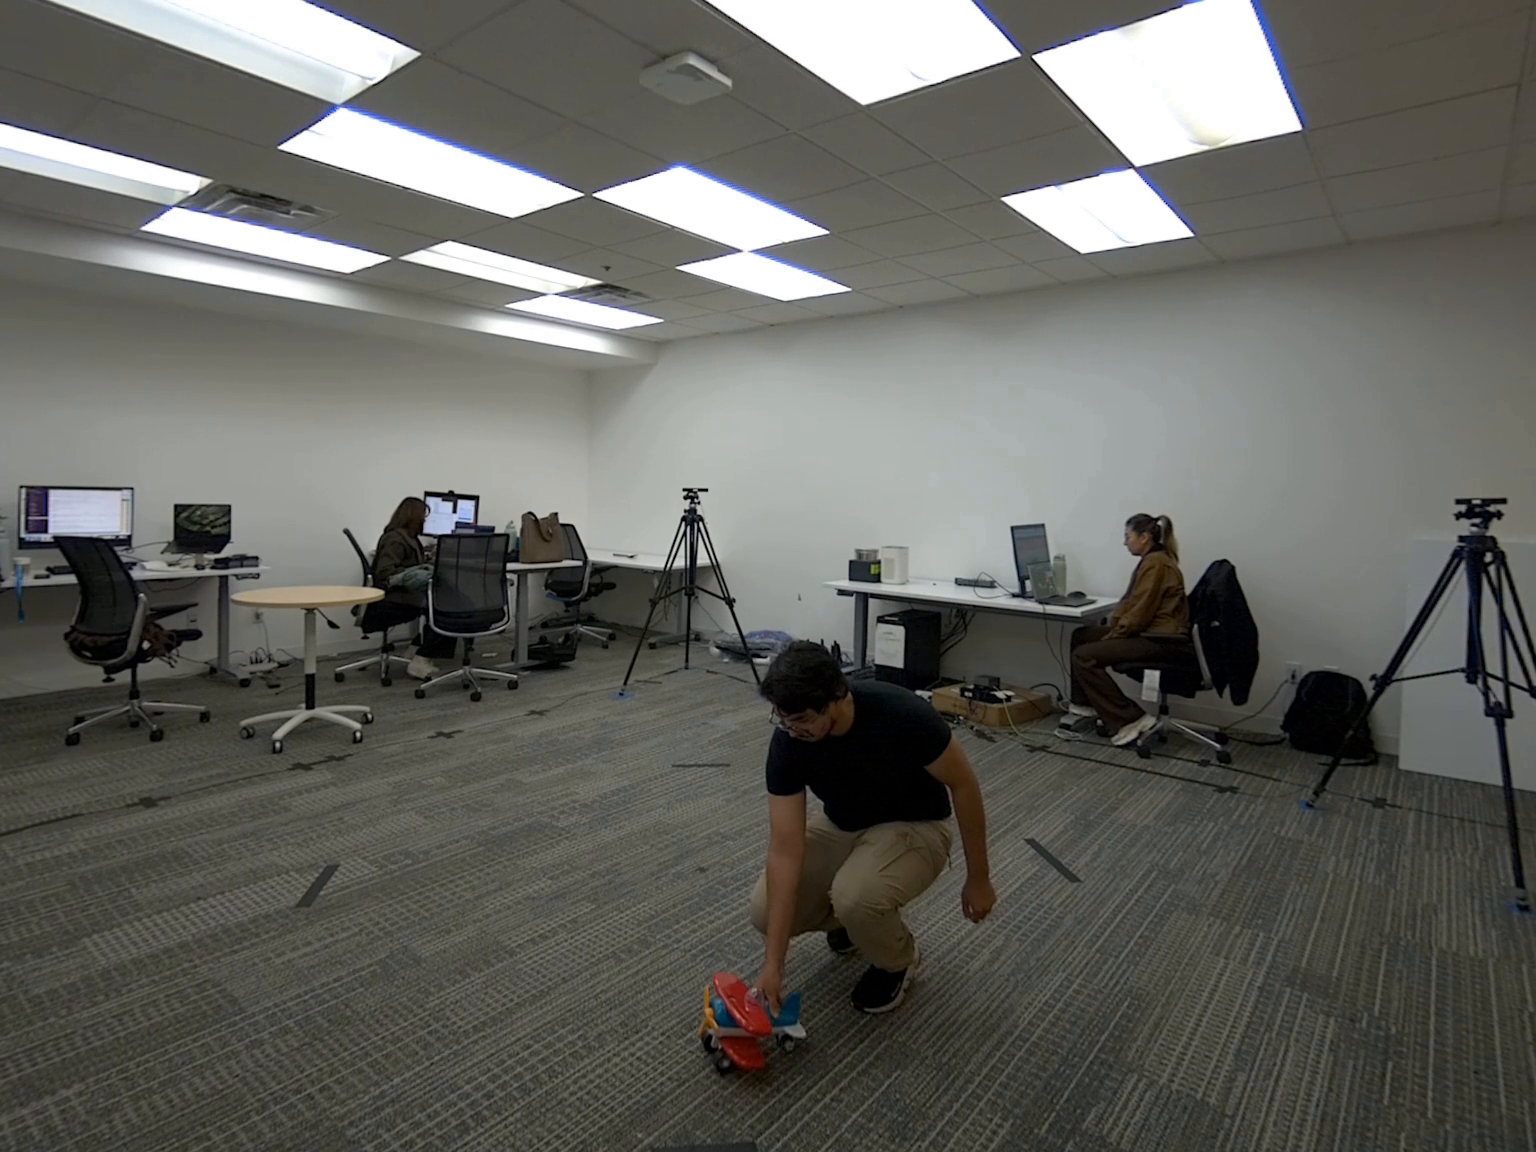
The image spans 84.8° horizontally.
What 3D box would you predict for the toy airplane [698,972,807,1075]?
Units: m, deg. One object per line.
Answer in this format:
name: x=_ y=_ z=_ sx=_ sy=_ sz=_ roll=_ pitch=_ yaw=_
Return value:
toy airplane: x=-0.053 y=1.100 z=2.111 sx=0.260 sy=0.156 sz=0.252 roll=5 pitch=7 yaw=42
